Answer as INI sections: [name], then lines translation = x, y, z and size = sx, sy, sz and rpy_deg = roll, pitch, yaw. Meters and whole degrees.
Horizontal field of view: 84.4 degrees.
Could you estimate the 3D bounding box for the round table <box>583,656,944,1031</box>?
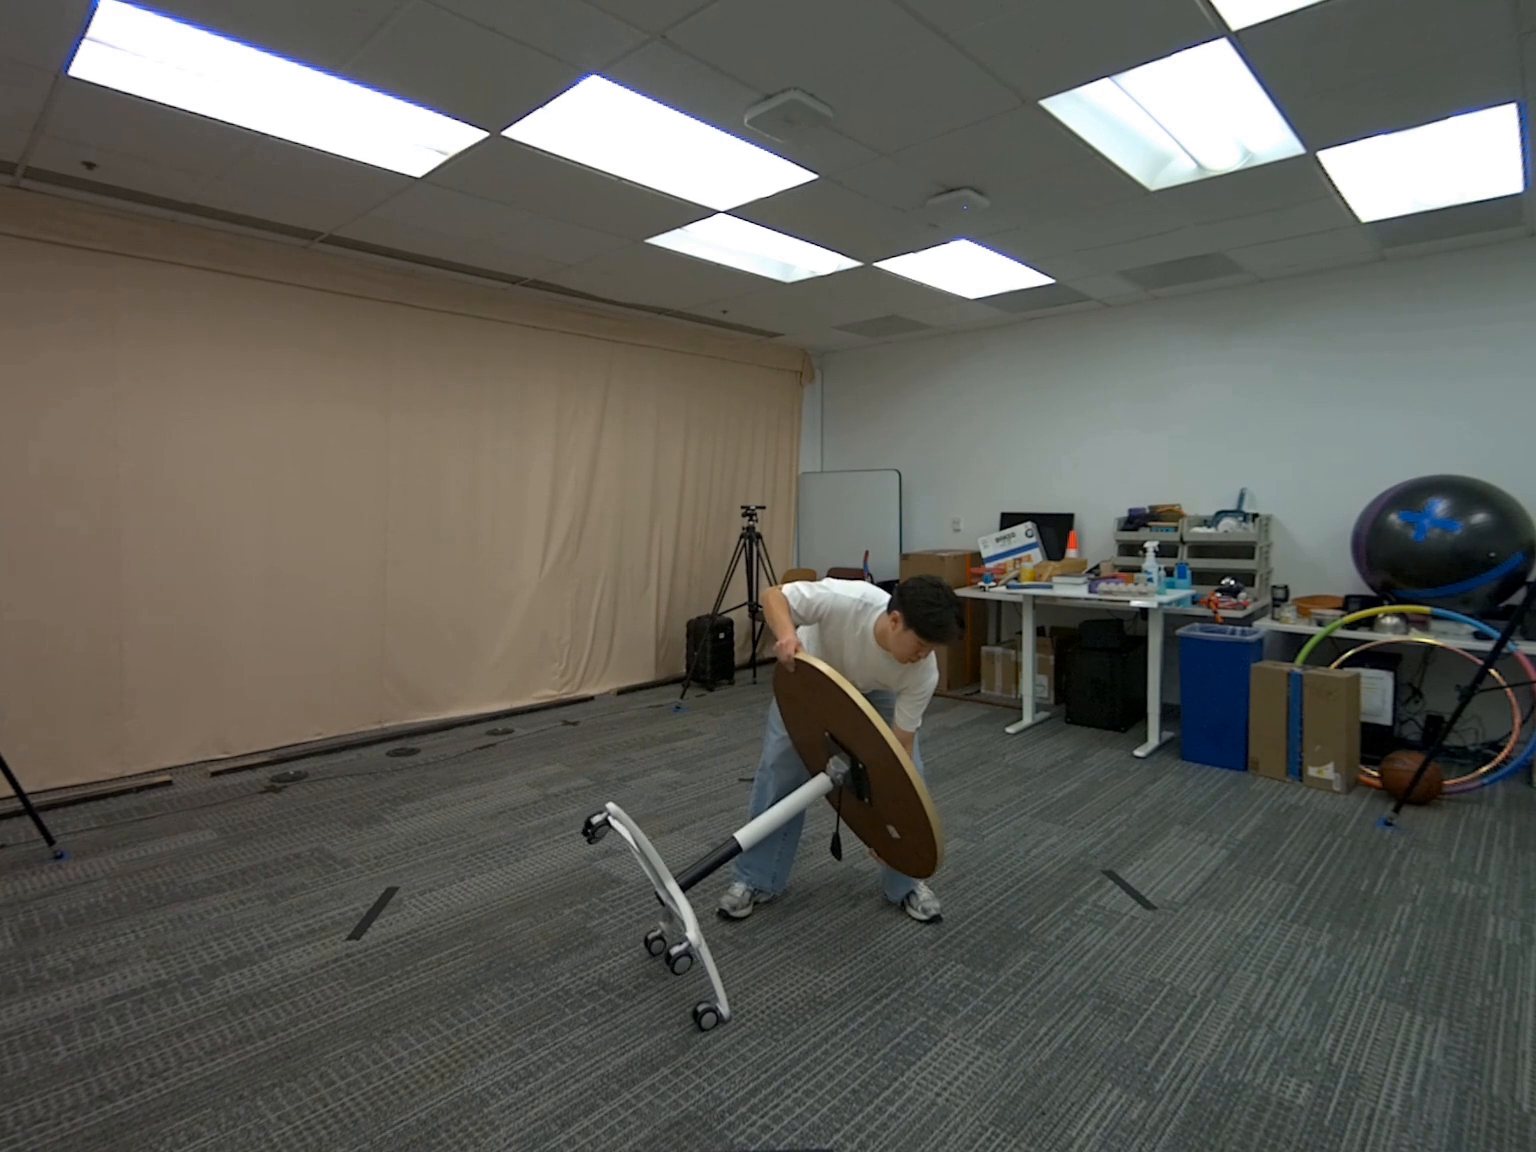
[round table]
translation = -0.047, 0.757, 2.445
size = 0.785, 0.754, 0.783
rpy_deg = -30, 15, -20
